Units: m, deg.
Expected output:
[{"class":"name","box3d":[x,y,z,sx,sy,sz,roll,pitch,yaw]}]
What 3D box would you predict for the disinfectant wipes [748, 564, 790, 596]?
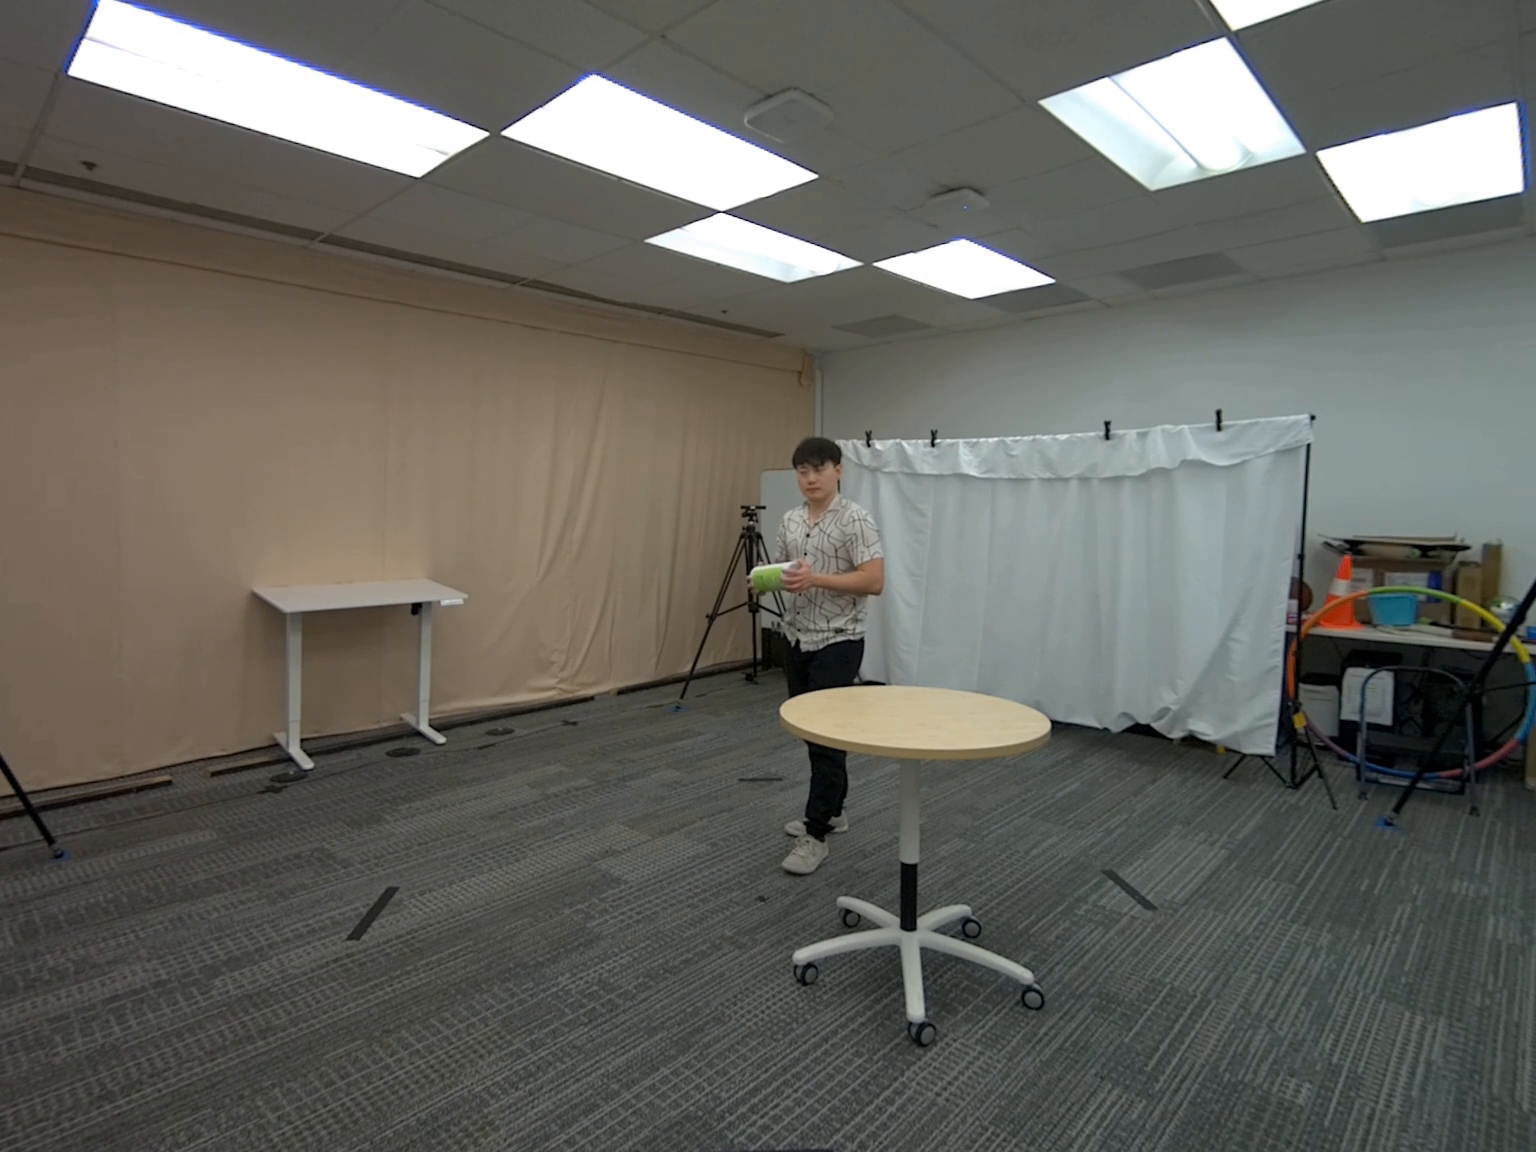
[{"class":"disinfectant wipes","box3d":[0.027,0.006,3.339,0.114,0.118,0.224,-3,-2,-41]}]
